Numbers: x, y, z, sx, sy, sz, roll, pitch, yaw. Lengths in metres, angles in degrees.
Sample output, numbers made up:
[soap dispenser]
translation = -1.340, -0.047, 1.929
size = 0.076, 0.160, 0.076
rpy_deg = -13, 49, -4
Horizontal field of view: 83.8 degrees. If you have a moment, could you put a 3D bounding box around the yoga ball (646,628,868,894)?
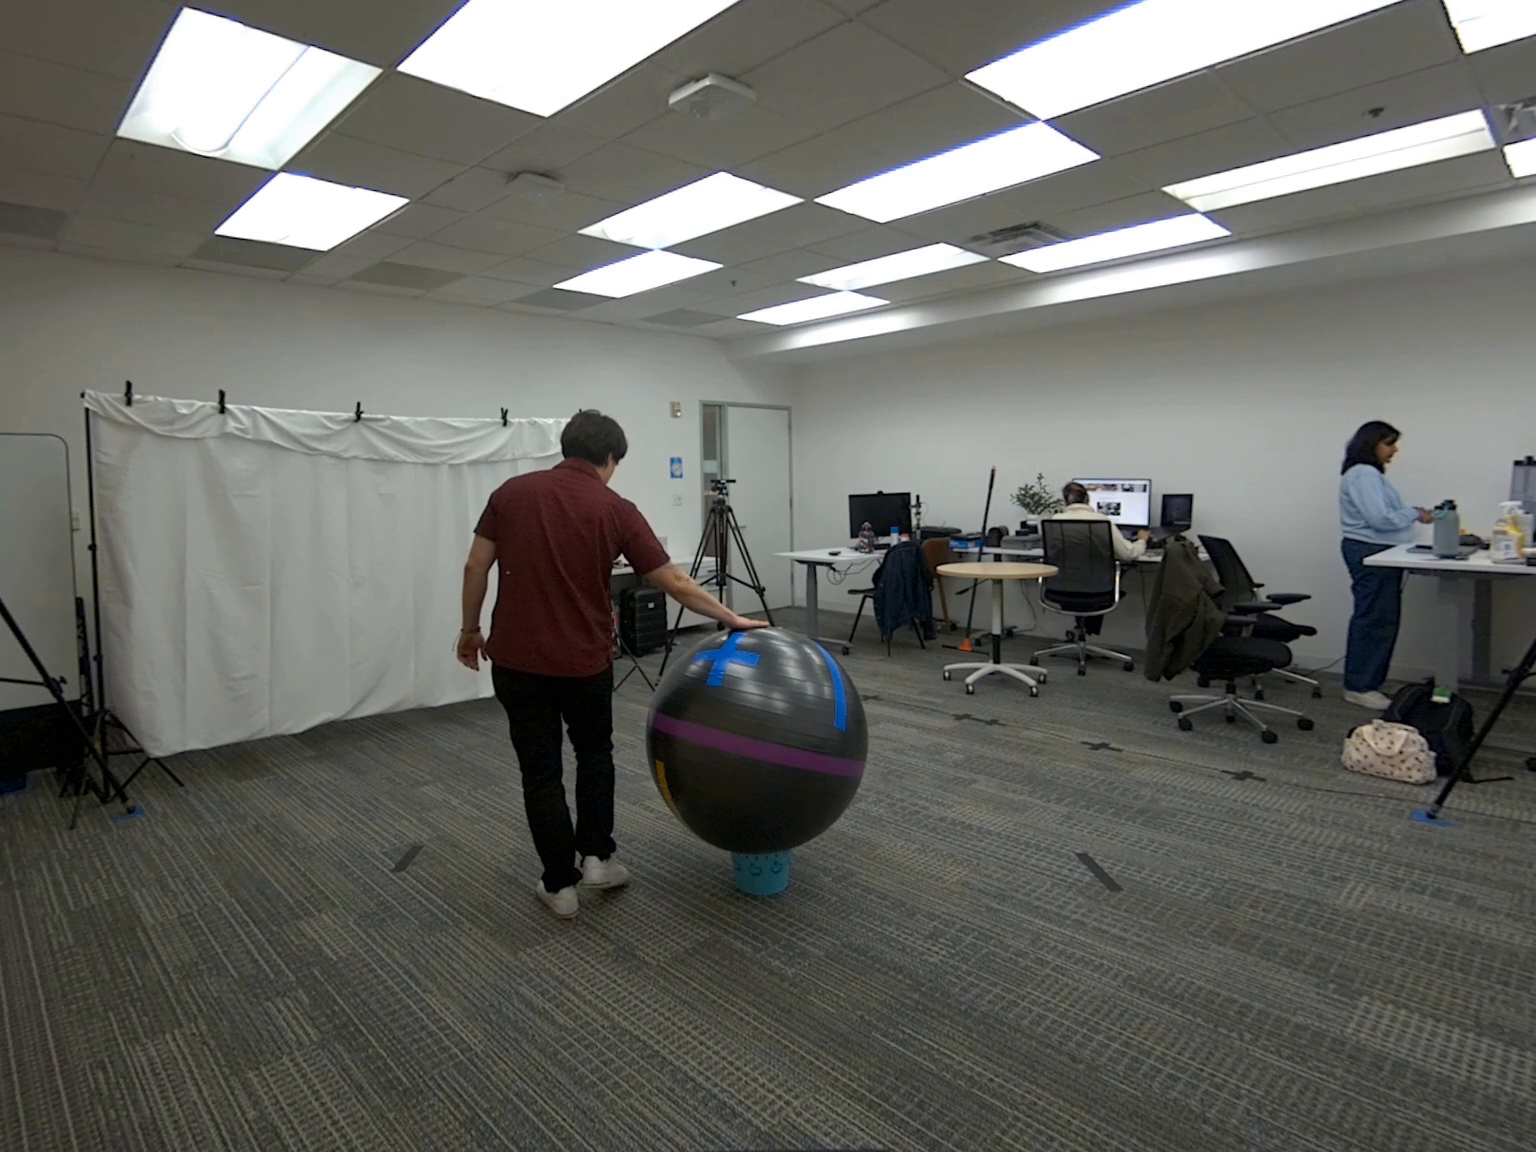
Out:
[yoga ball]
translation = -0.036, 0.553, 2.941
size = 0.757, 0.755, 0.762
rpy_deg = -1, 5, -2
